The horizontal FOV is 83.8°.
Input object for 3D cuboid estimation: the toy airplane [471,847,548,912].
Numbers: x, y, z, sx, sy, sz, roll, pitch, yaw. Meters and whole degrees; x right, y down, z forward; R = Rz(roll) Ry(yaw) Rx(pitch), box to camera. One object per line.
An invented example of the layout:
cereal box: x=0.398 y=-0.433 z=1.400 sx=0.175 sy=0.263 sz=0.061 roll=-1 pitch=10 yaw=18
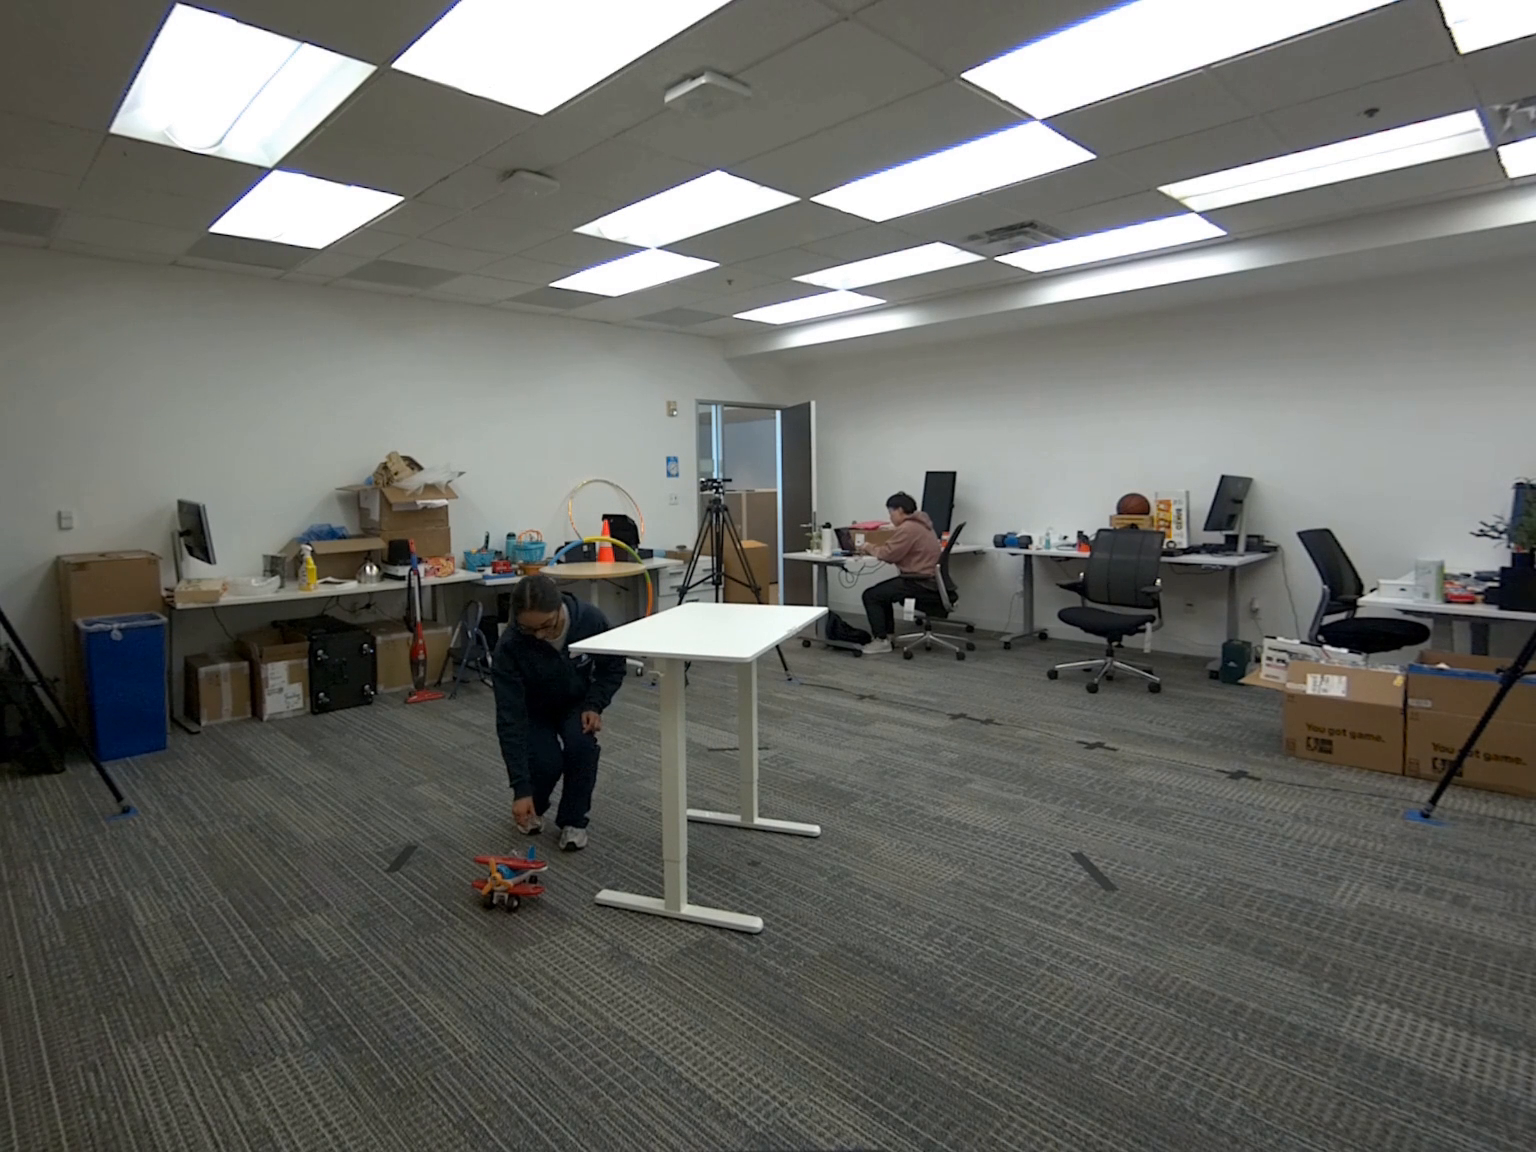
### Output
toy airplane: x=-0.876 y=1.019 z=2.877 sx=0.248 sy=0.155 sz=0.264 roll=-3 pitch=7 yaw=-13
